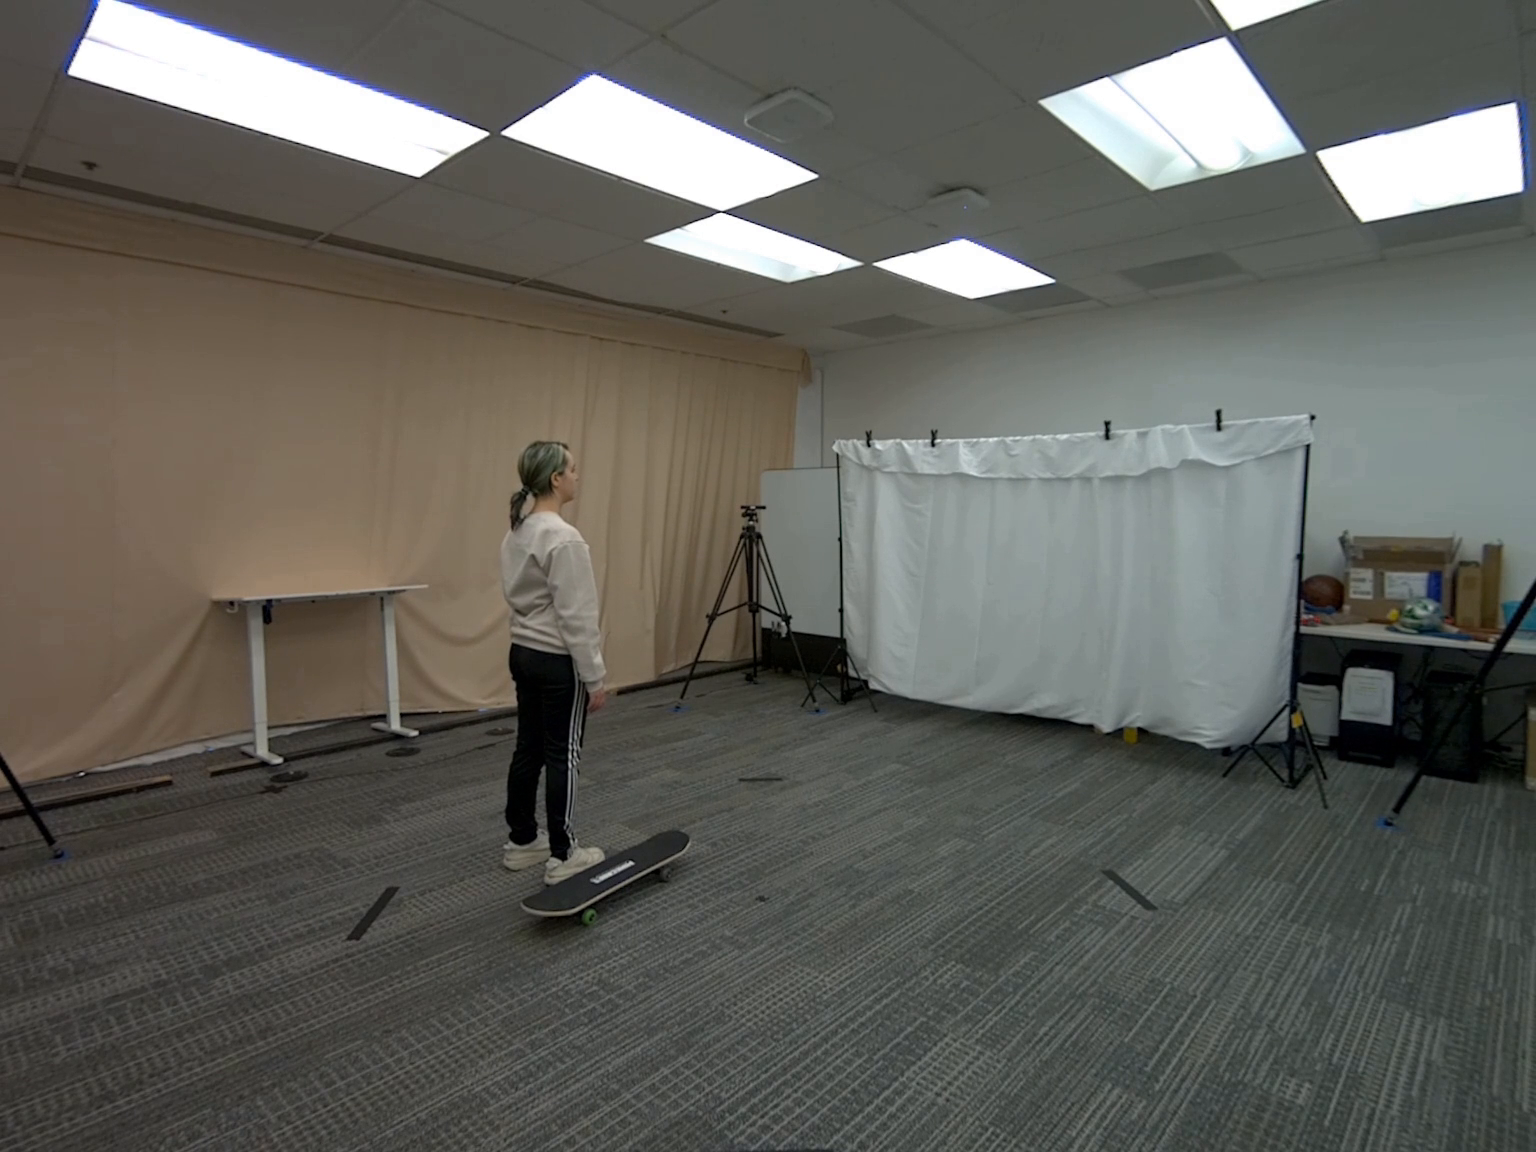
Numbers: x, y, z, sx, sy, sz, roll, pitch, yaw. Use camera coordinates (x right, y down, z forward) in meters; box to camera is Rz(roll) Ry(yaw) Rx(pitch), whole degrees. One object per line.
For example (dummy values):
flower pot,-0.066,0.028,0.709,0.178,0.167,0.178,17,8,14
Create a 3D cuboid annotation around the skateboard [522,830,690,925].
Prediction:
skateboard,-0.560,1.091,3.010,0.199,0.110,0.763,1,4,34
